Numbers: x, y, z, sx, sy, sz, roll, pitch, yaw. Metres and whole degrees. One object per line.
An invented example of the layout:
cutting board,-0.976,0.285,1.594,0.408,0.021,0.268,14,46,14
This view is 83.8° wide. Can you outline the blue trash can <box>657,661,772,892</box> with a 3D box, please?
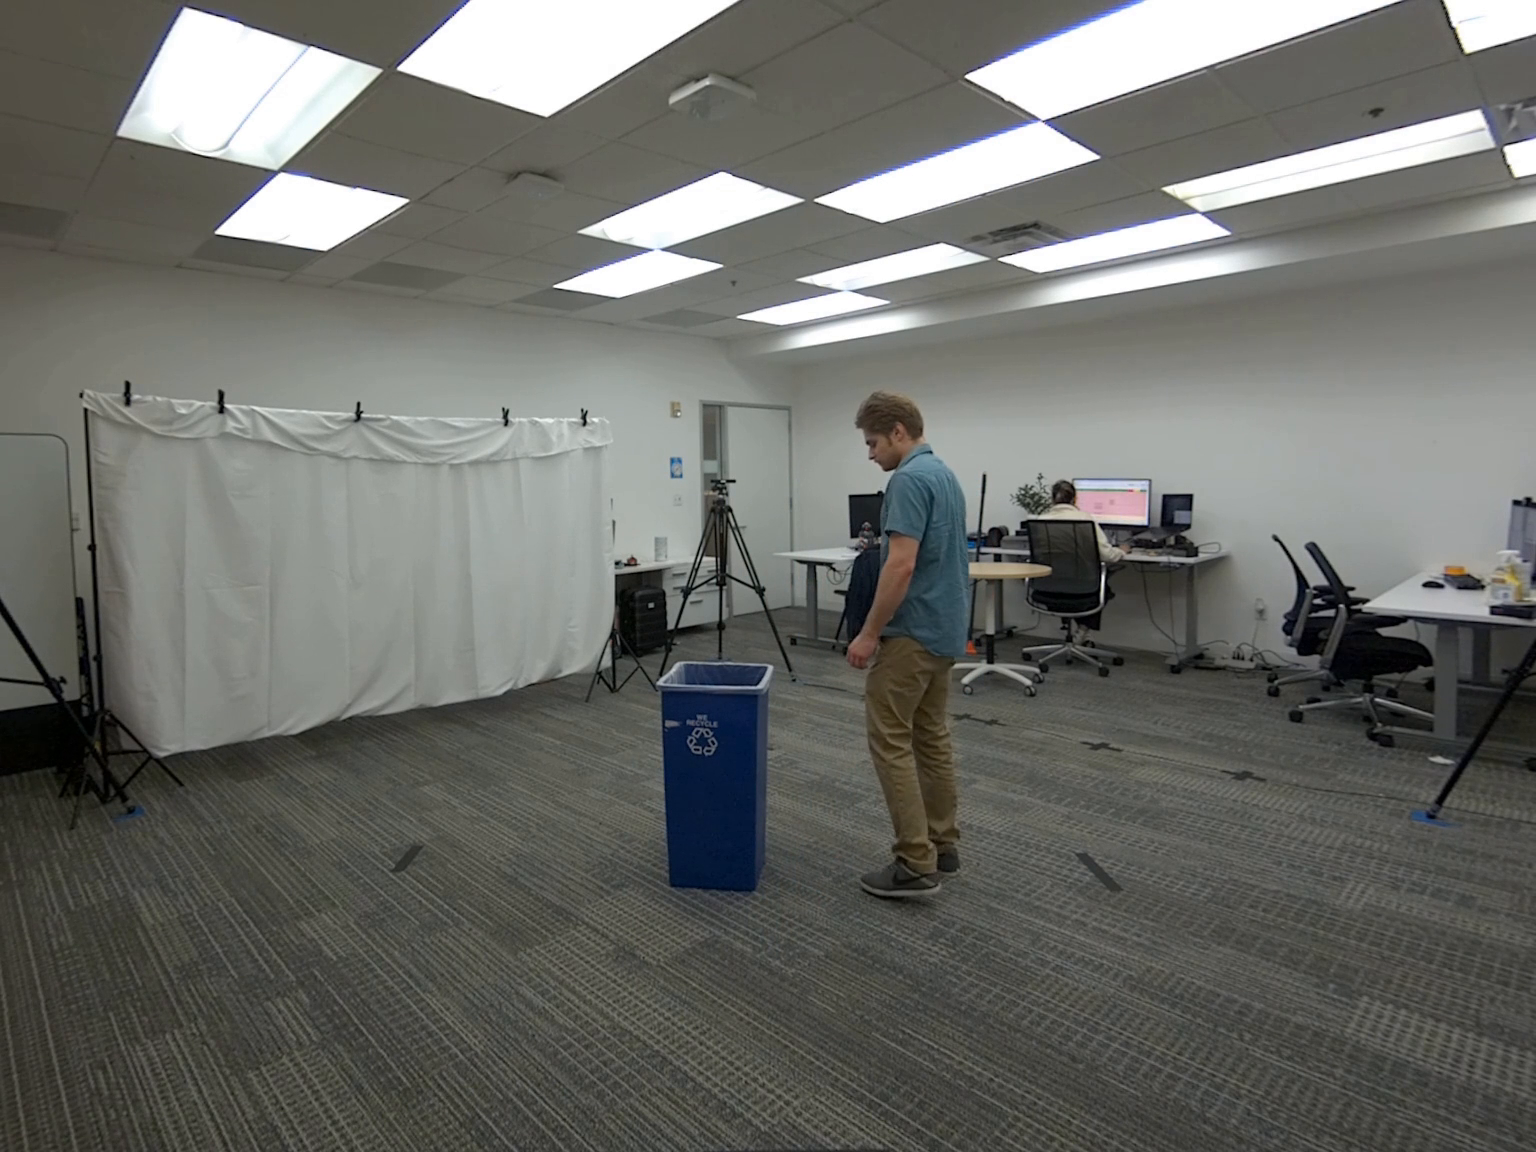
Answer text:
blue trash can,-0.166,0.699,3.042,0.377,0.711,0.376,0,4,8
